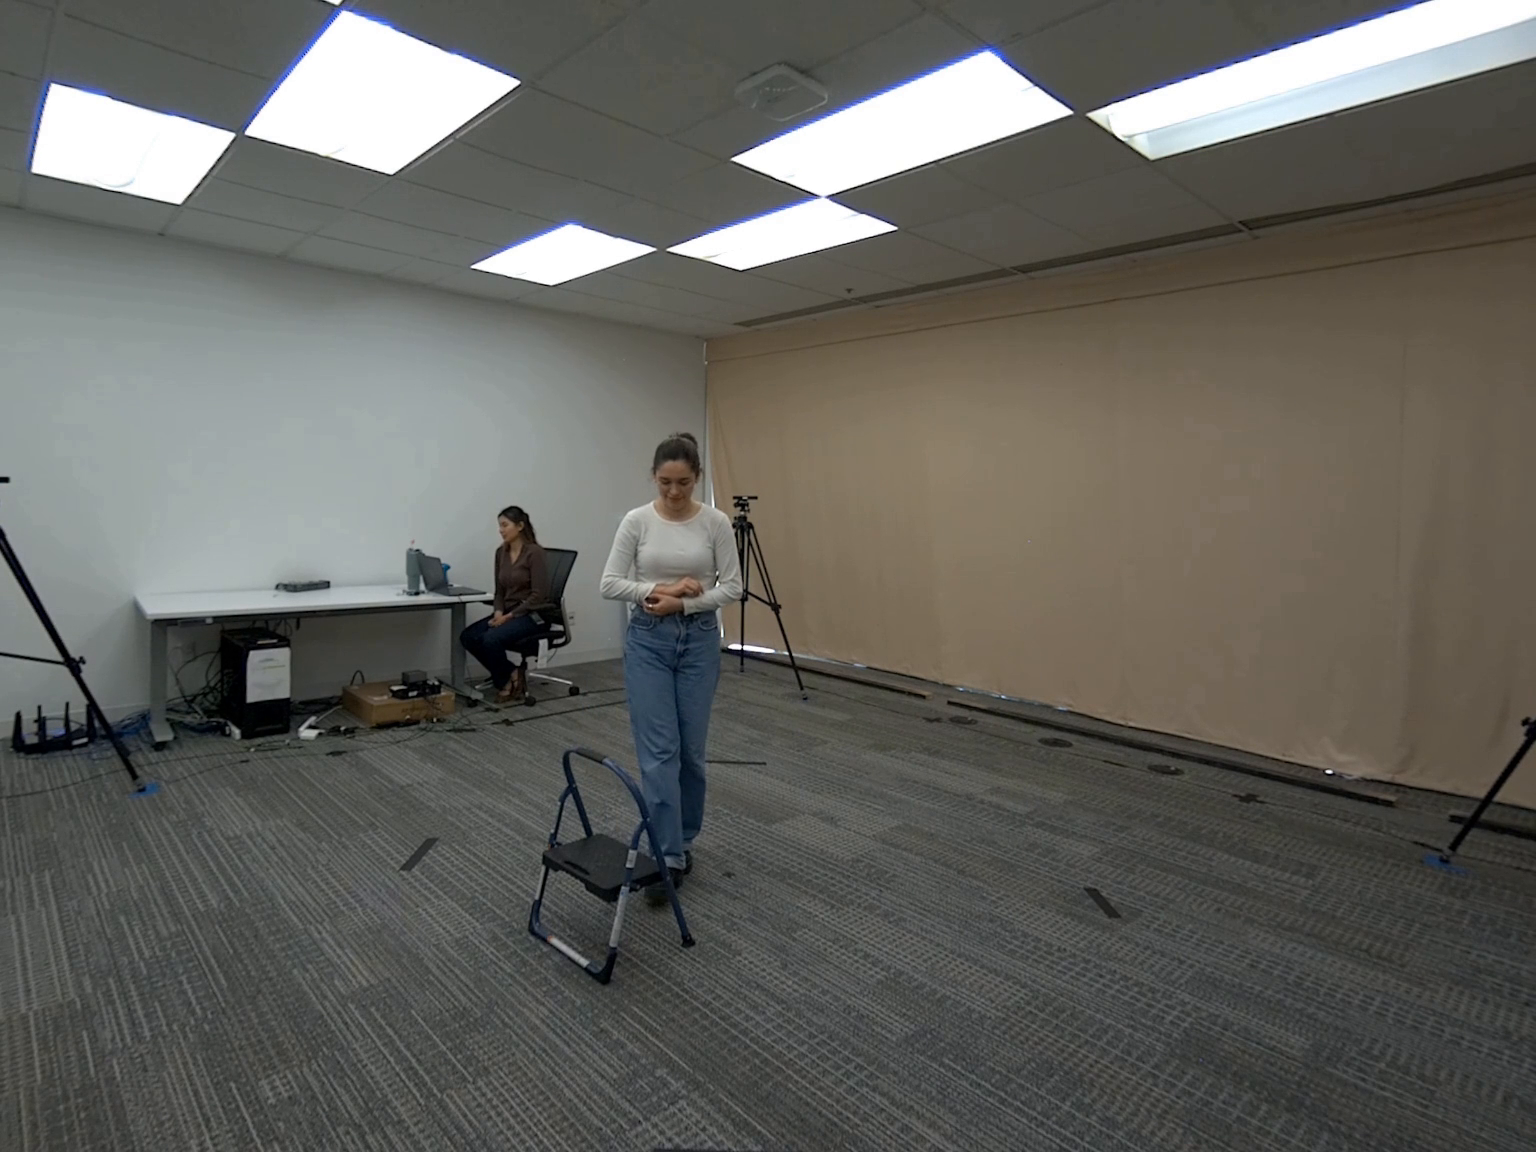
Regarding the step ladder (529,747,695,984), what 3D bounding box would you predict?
[{"bbox_3d":[-0.500,0.840,2.624,0.441,0.604,0.341,5,5,44],"label":"step ladder"}]
